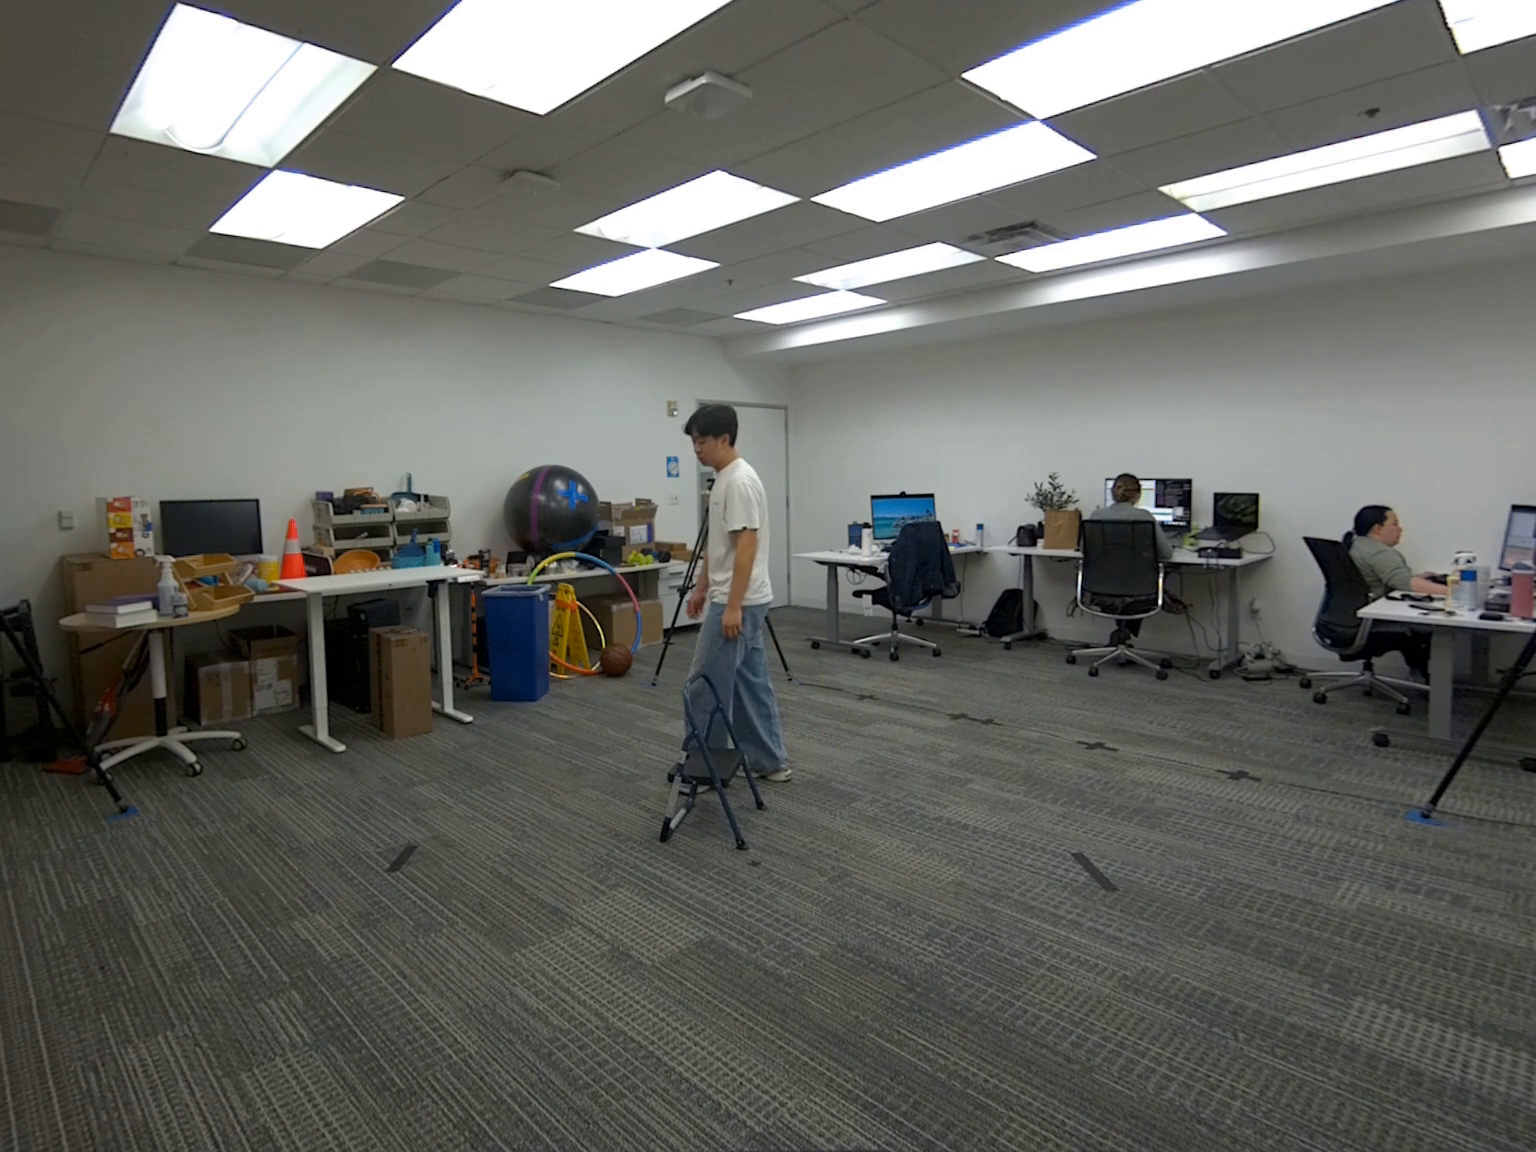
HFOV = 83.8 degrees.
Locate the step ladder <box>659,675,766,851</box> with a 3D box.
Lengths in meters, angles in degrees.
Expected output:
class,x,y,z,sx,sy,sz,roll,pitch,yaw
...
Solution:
class,x,y,z,sx,sy,sz,roll,pitch,yaw
step ladder,-0.227,0.711,3.444,0.353,0.604,0.427,0,4,11
